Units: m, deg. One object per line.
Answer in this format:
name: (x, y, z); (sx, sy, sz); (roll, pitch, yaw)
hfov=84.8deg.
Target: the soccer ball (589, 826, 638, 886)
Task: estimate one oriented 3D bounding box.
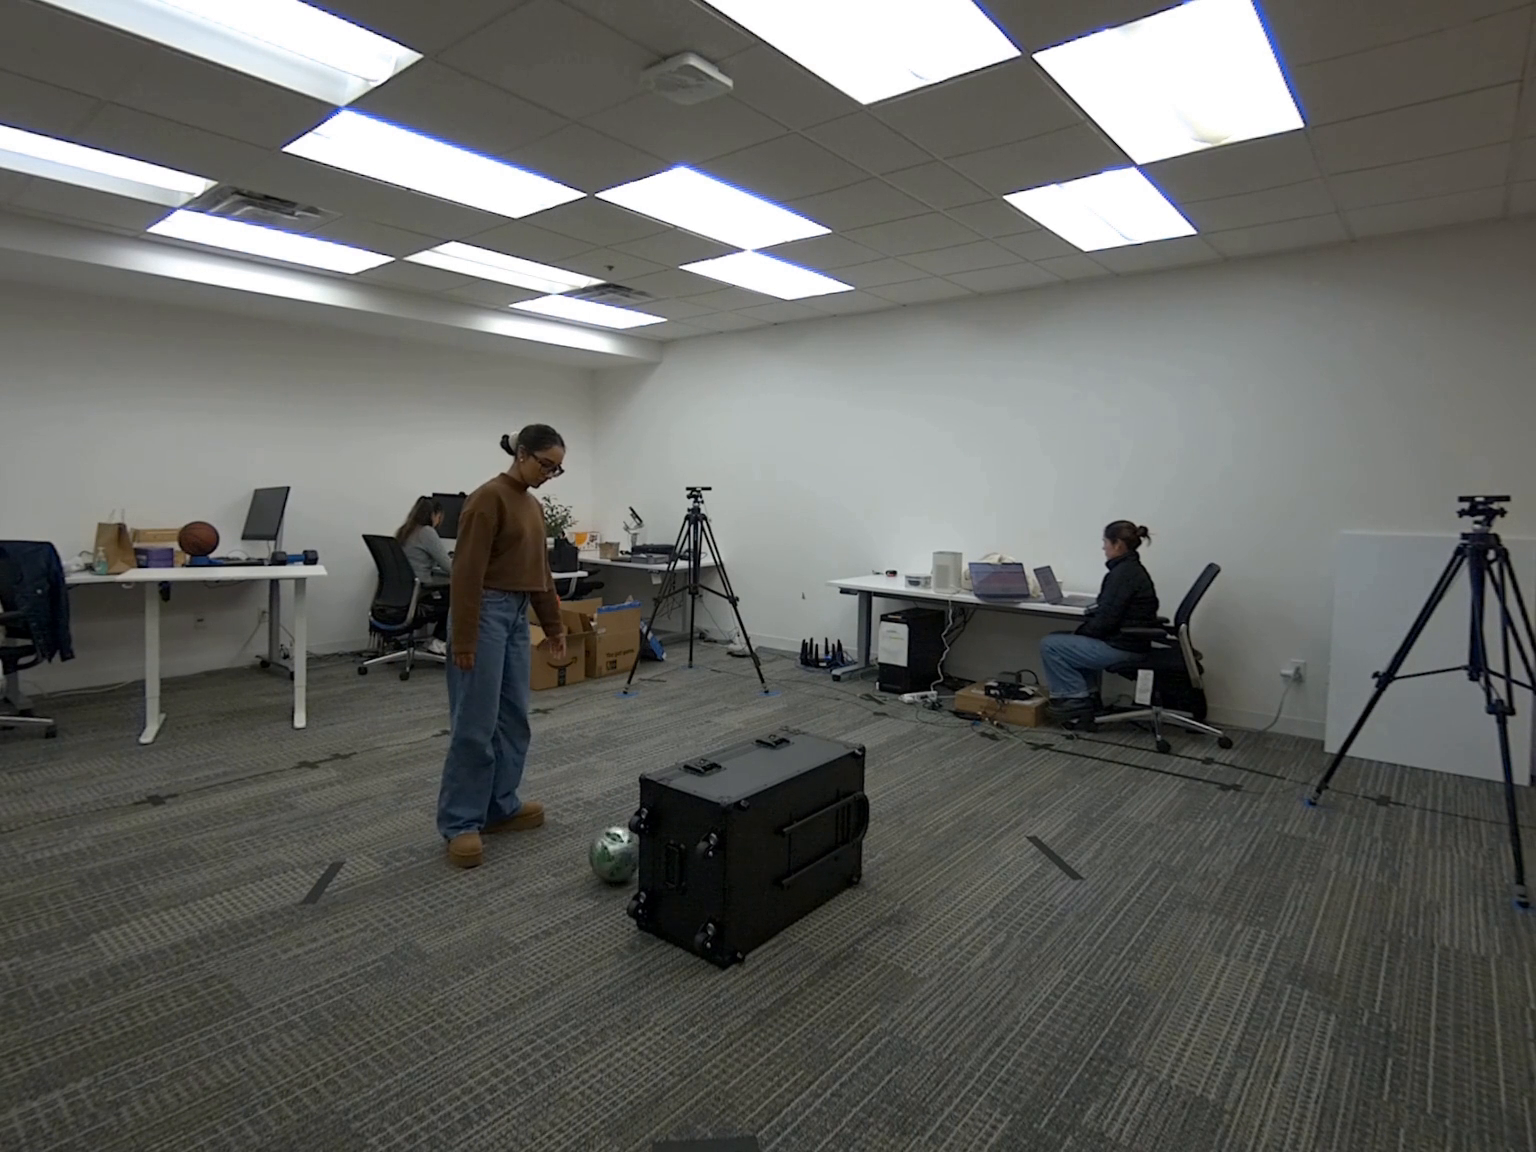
soccer ball: (-0.546, 0.976, 2.999); (0.187, 0.187, 0.188); (1, 4, -2)
